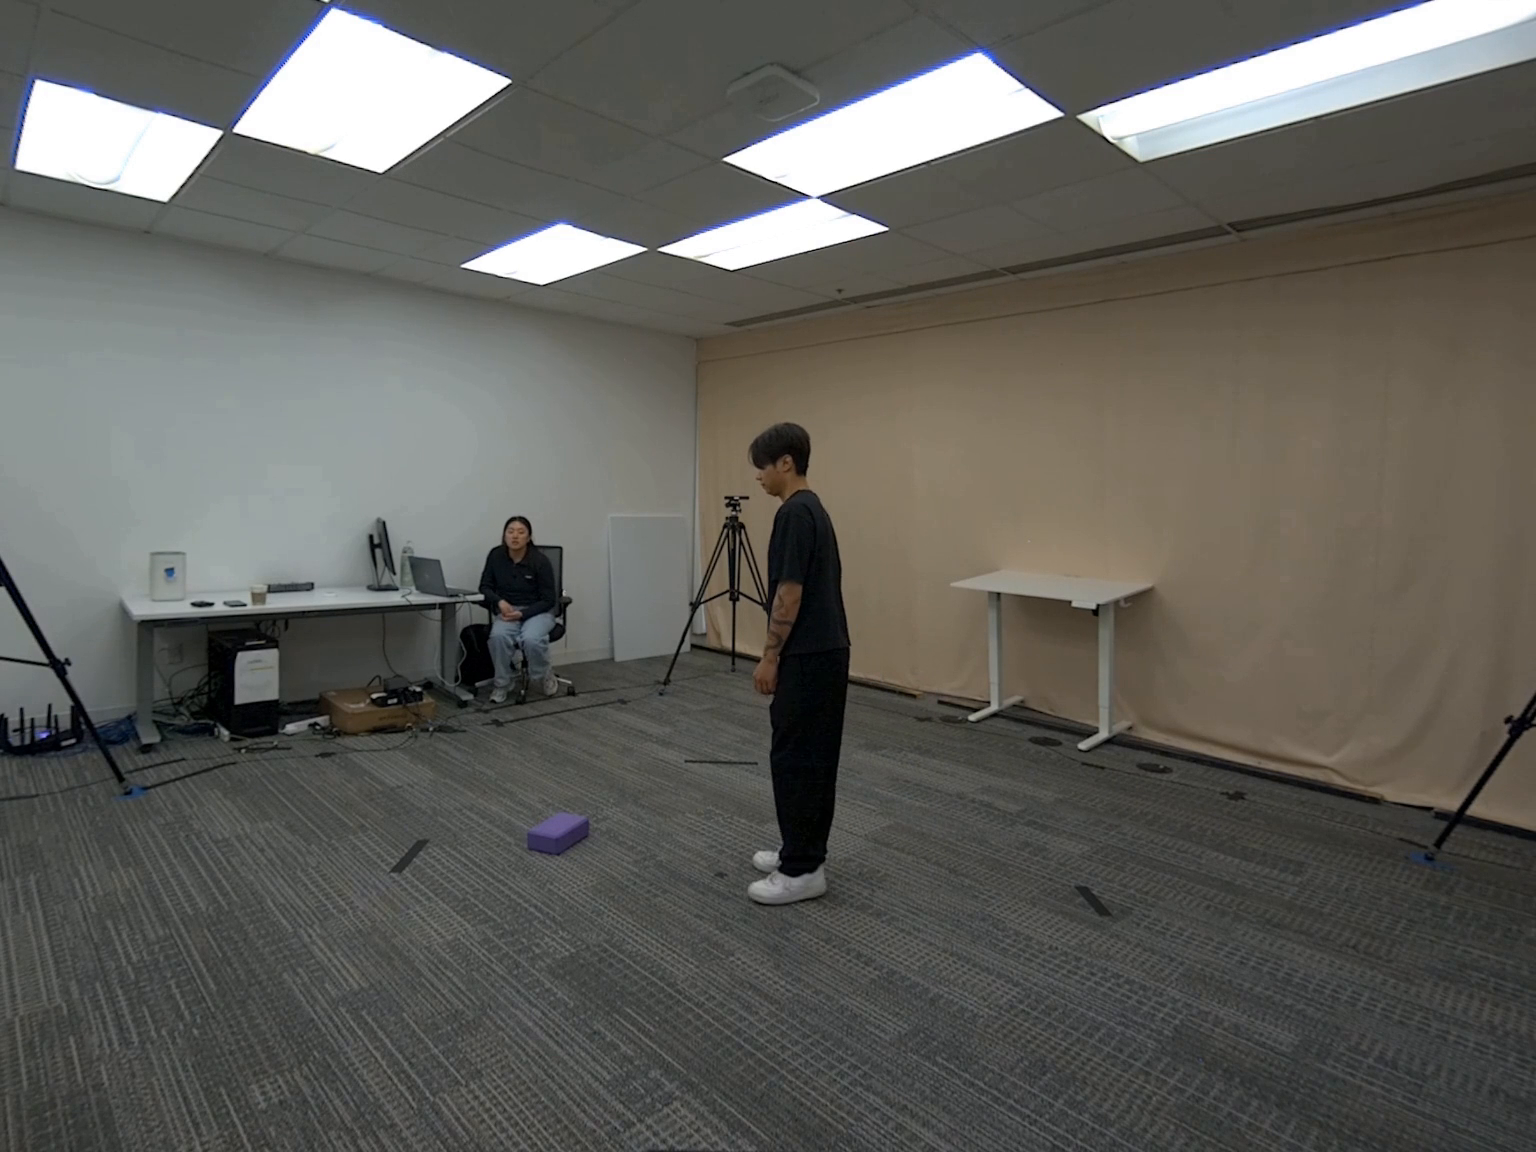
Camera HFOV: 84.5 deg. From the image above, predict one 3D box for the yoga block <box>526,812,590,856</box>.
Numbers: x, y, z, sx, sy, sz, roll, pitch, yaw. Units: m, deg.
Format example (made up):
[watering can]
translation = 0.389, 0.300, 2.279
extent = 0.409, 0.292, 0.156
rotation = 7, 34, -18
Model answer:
[yoga block]
translation = -0.842, 1.026, 3.359
extent = 0.151, 0.076, 0.226
rotation = 4, 5, 20
